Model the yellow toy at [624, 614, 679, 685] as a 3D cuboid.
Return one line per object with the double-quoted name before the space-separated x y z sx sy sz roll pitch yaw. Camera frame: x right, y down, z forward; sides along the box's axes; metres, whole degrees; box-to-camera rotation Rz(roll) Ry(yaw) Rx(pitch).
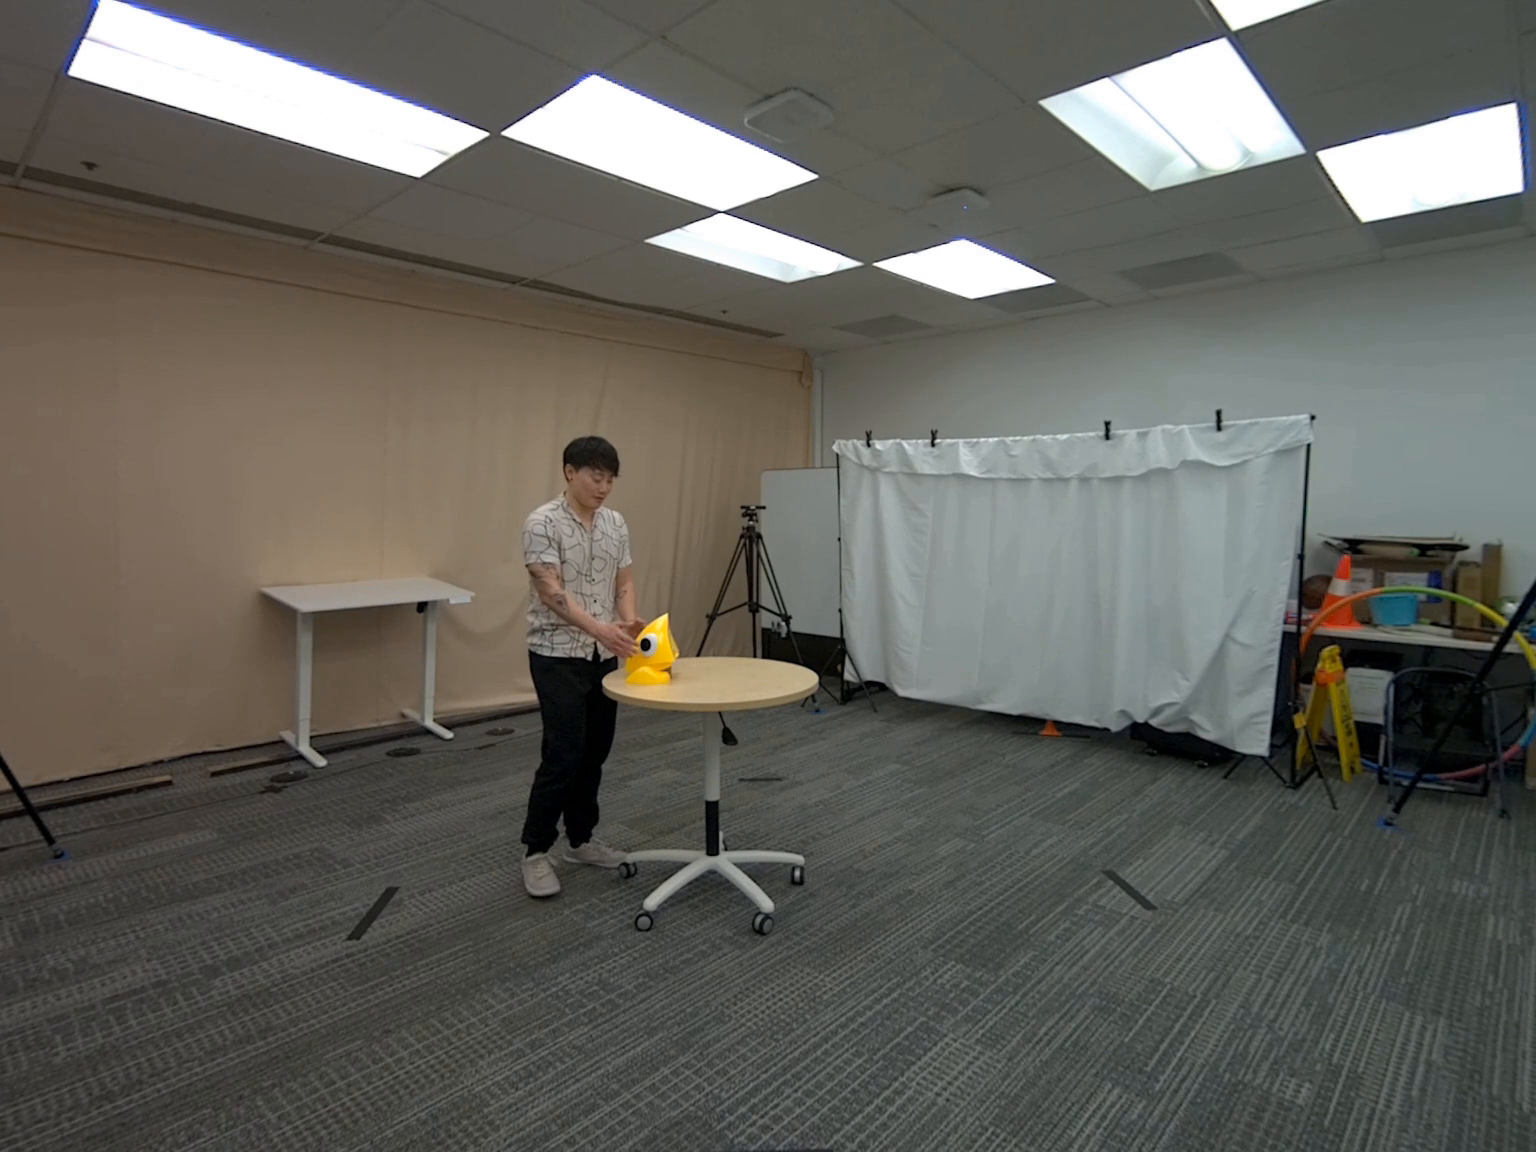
"yellow toy" -0.414 0.251 2.984 0.193 0.230 0.205 0 3 -2
